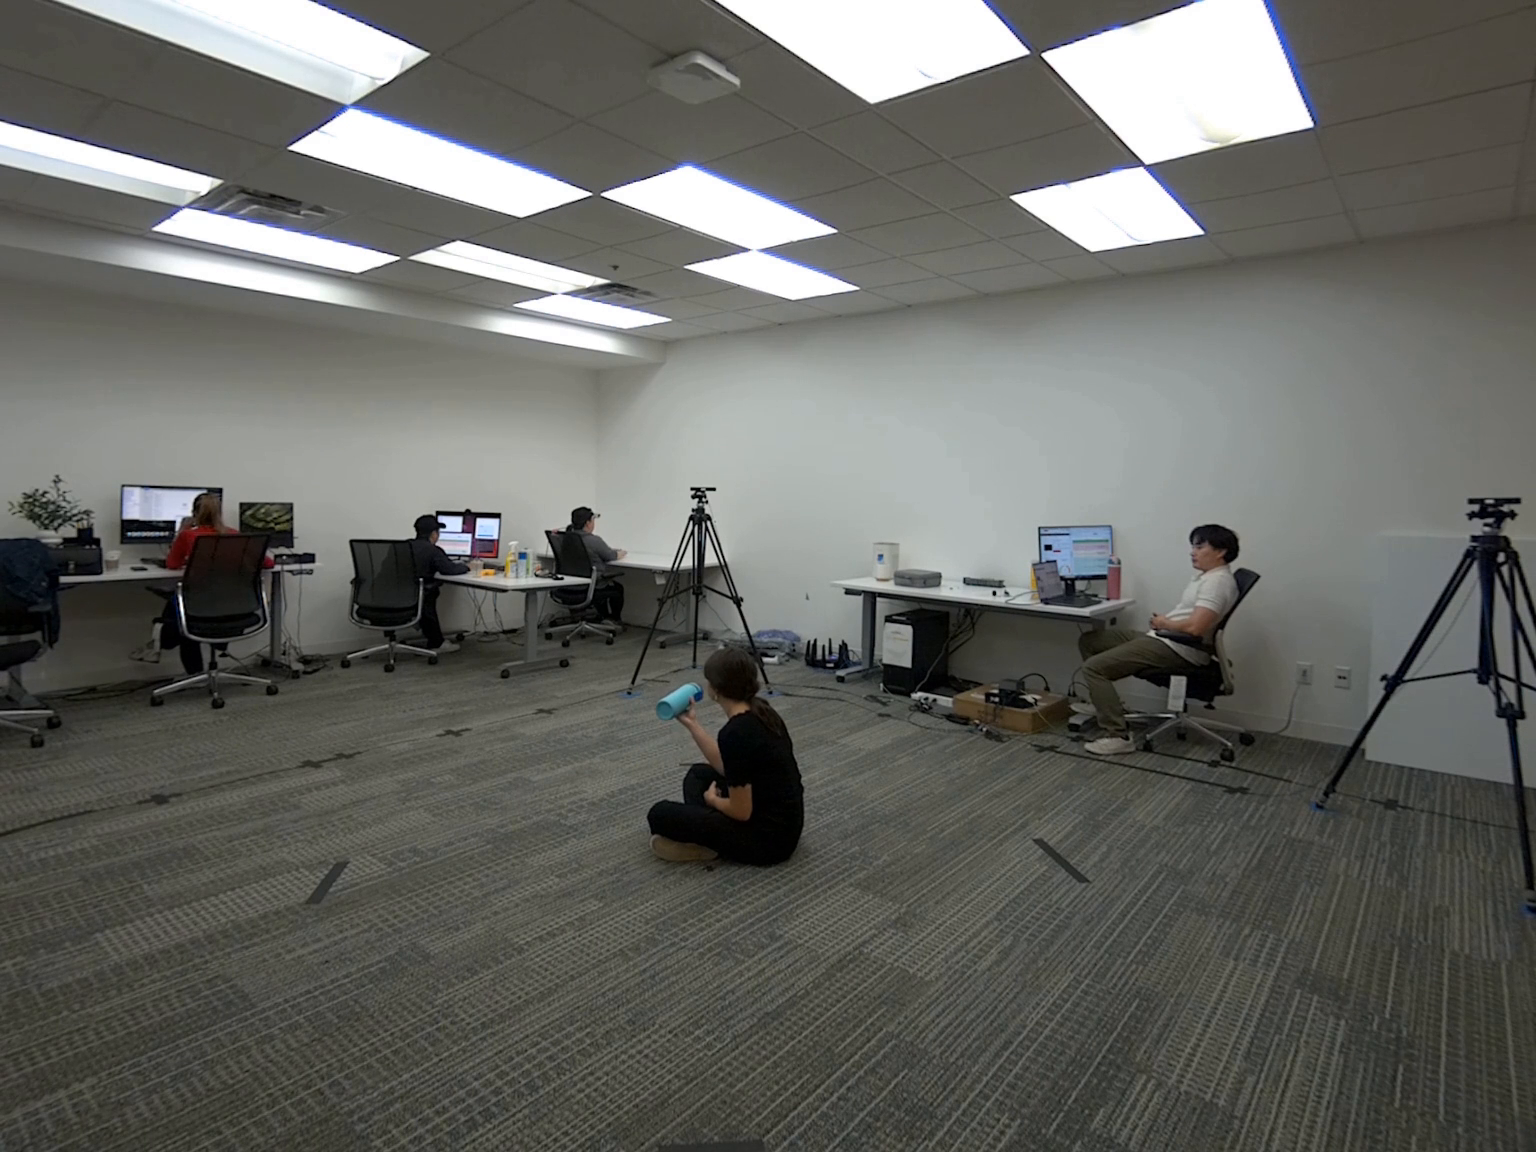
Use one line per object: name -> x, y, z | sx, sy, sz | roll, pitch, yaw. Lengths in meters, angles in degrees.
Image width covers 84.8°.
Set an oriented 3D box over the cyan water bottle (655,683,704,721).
cyan water bottle -> -0.381, 0.522, 3.614 | 0.095, 0.091, 0.279 | 3, 12, 24
